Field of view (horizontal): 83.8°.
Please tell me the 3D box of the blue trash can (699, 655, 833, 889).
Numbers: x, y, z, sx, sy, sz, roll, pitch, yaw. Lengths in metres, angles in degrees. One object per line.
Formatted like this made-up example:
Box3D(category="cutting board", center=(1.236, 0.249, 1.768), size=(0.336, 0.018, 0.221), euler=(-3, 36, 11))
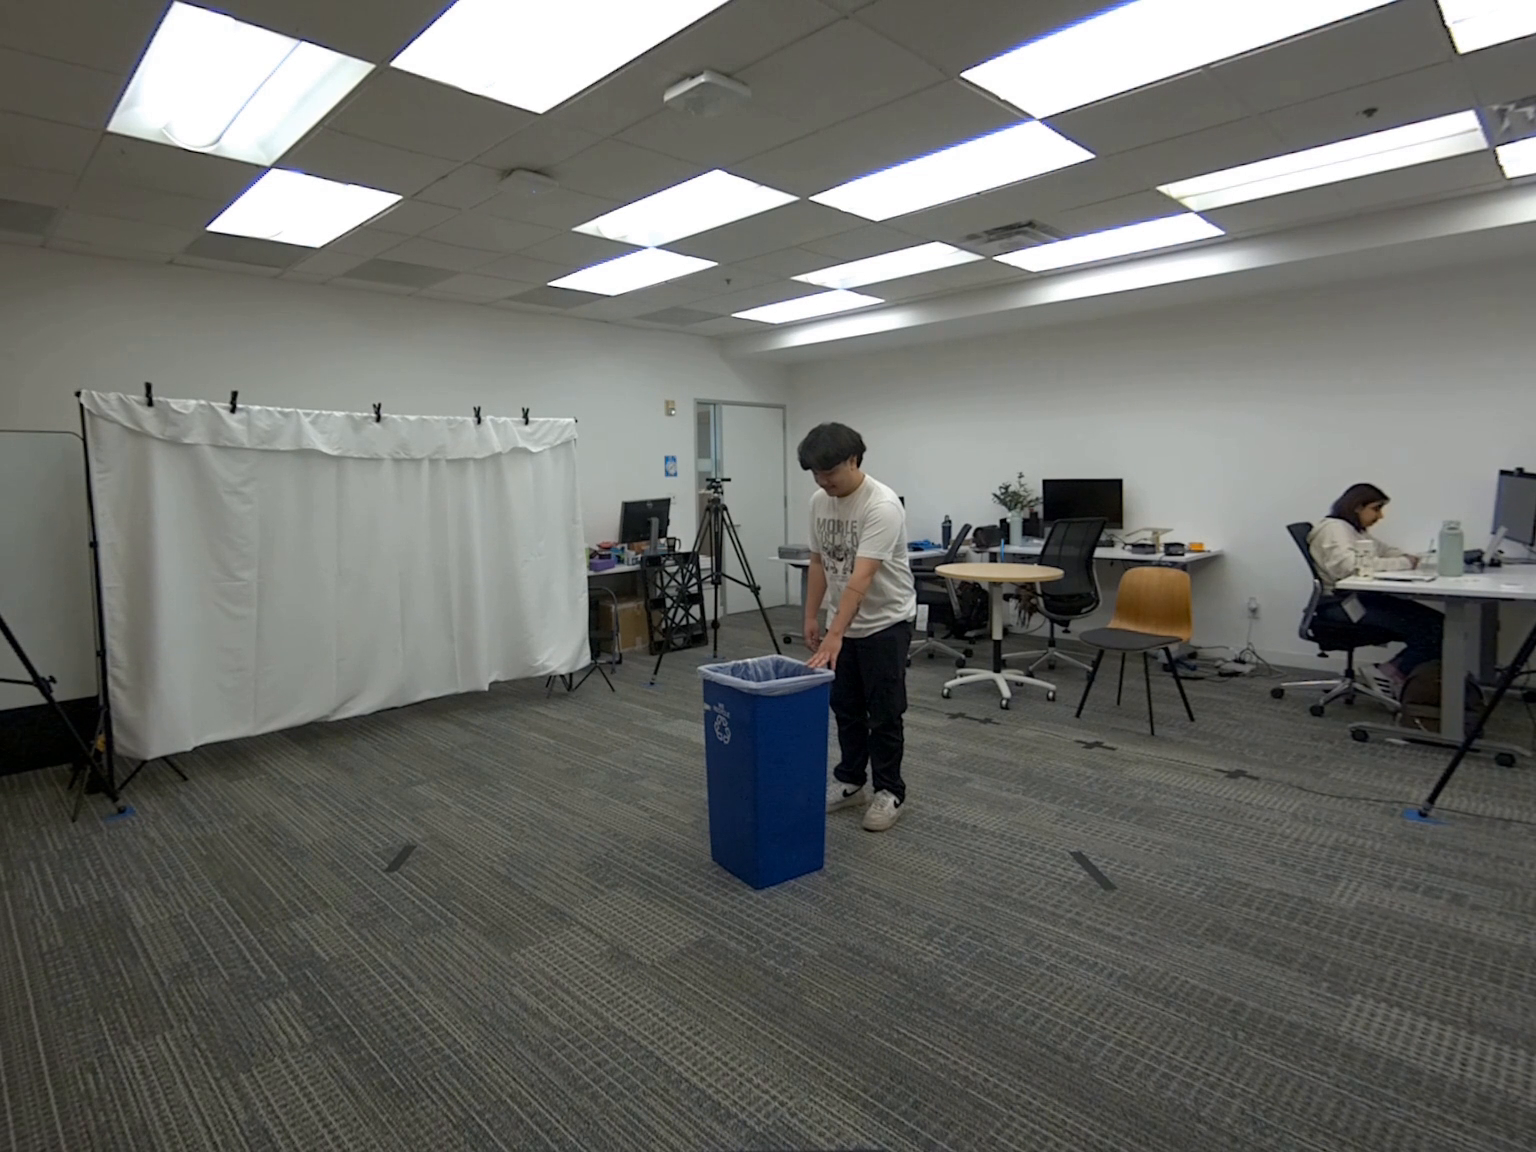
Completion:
Box3D(category="blue trash can", center=(0.001, 0.686, 3.068), size=(0.368, 0.711, 0.385), euler=(-4, 5, -35))
